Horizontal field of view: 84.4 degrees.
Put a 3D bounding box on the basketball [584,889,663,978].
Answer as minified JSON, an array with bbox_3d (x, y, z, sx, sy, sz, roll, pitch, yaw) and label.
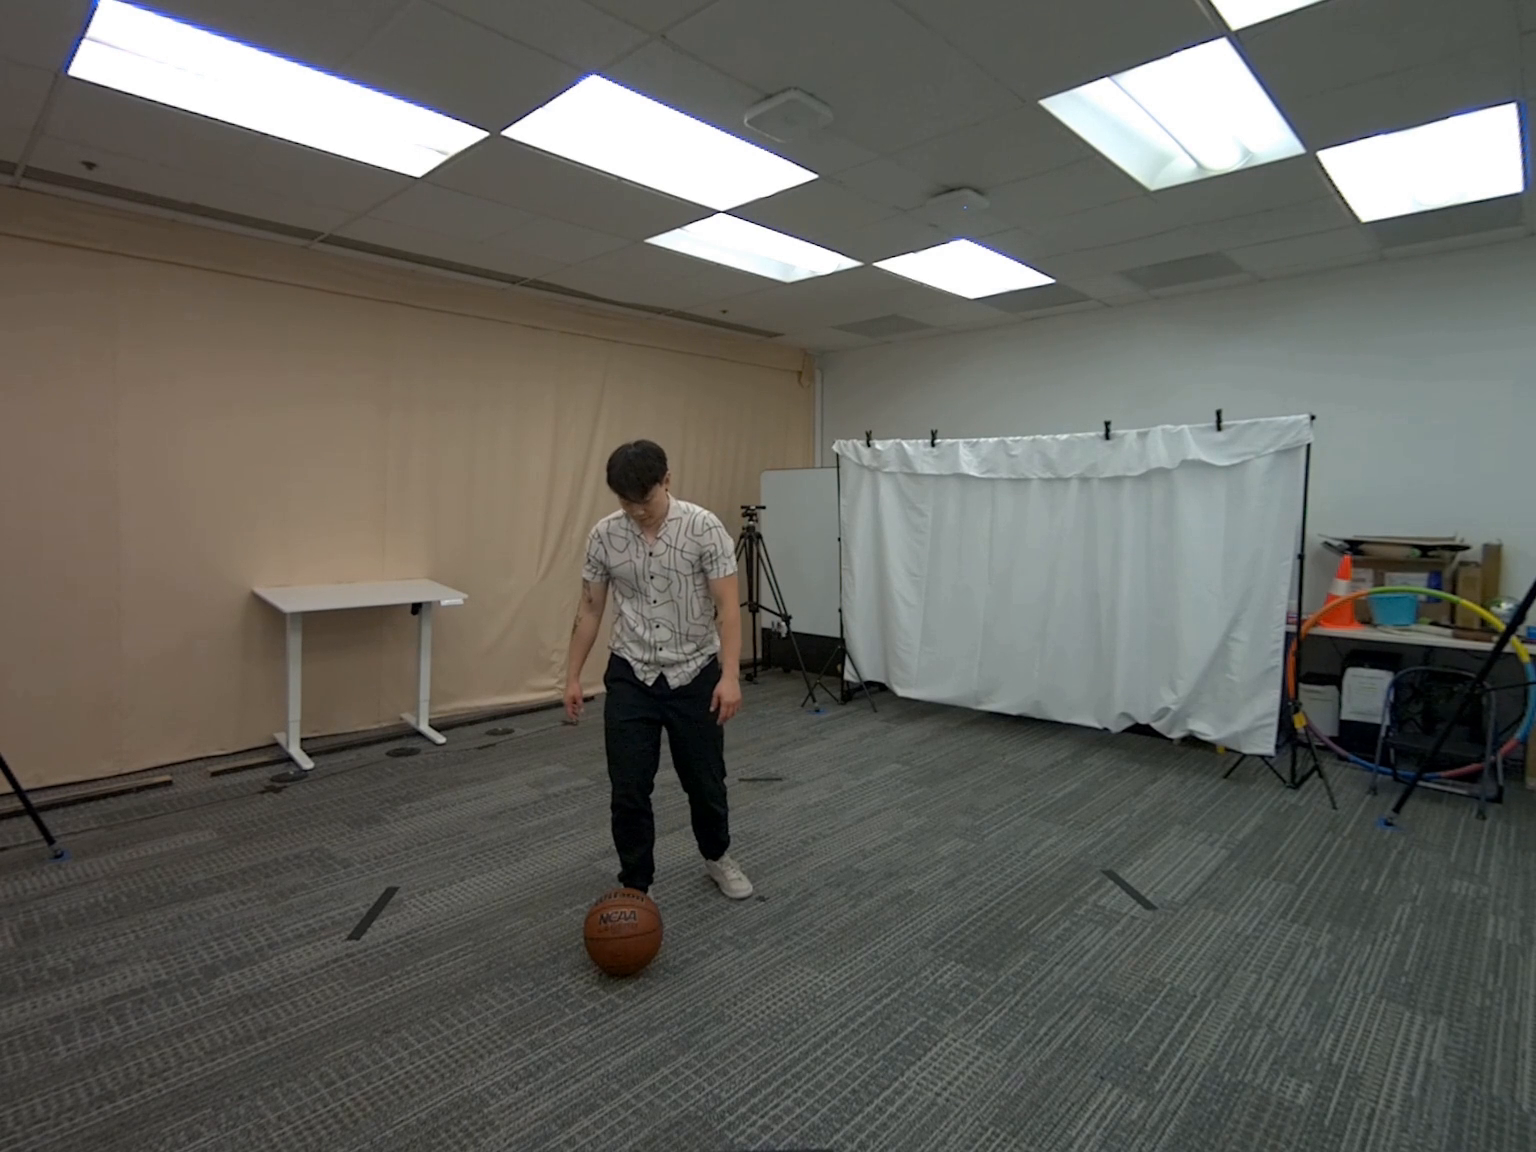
[{"bbox_3d":[-0.428,1.059,2.525,0.236,0.235,0.237,0,4,-2],"label":"basketball"}]
